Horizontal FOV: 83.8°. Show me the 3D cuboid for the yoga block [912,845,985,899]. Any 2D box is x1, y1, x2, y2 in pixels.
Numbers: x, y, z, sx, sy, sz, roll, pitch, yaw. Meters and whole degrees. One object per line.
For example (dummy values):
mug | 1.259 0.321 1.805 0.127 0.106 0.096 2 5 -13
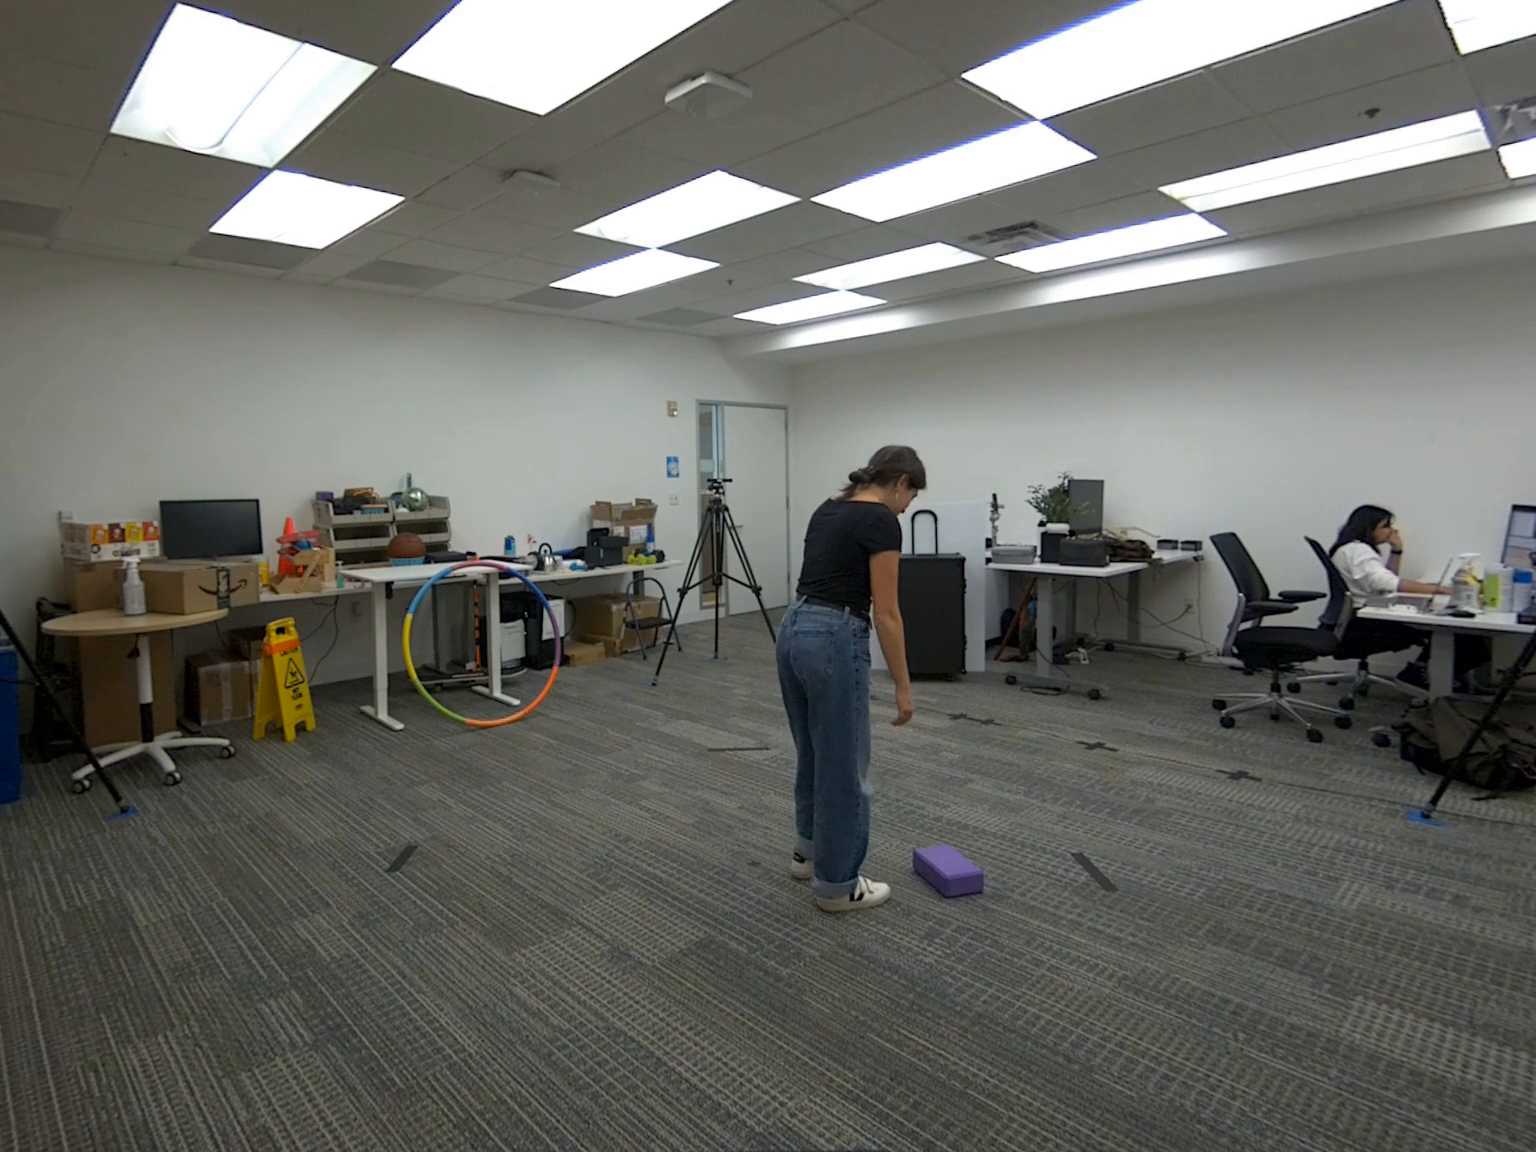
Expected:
yoga block | 0.621 1.012 2.943 0.146 0.076 0.234 -3 6 -18
